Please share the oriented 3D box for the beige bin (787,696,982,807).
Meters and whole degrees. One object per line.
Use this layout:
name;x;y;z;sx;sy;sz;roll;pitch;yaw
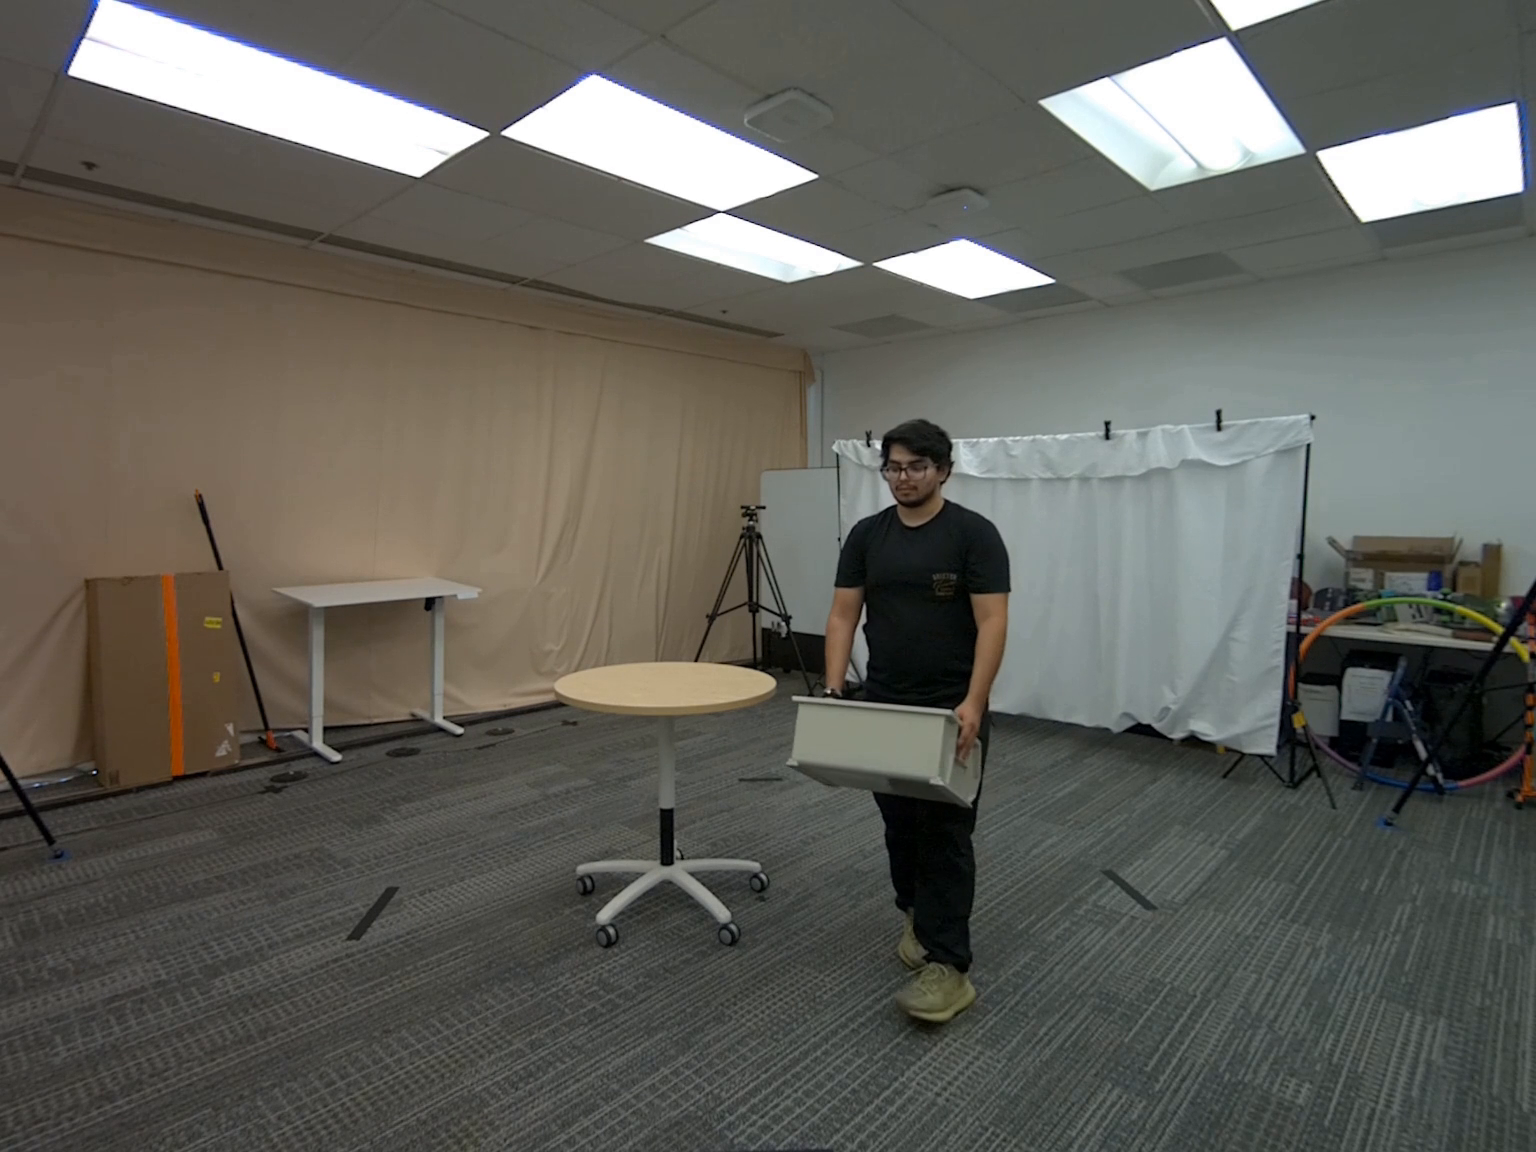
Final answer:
beige bin;0.316;0.473;2.261;0.434;0.190;0.364;1;-21;28
